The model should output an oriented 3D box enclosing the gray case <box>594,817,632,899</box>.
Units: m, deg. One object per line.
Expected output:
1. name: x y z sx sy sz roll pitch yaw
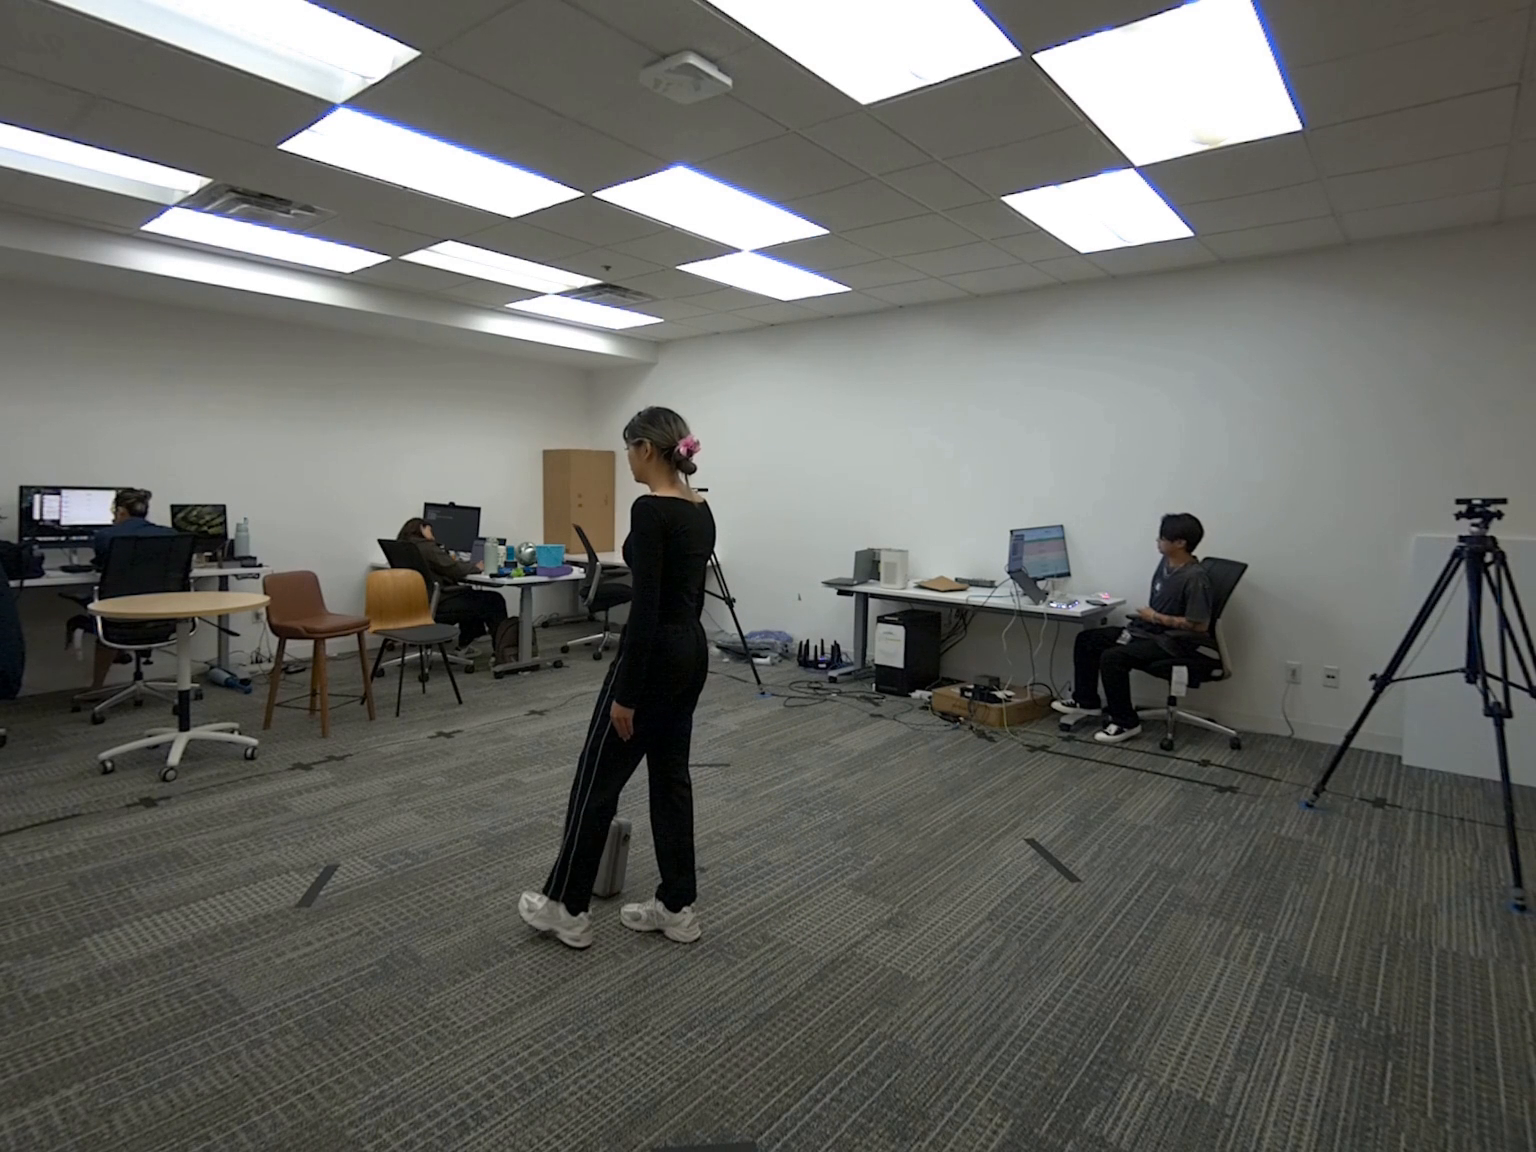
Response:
1. gray case: -0.615 0.943 2.966 0.265 0.262 0.100 3 -8 36
